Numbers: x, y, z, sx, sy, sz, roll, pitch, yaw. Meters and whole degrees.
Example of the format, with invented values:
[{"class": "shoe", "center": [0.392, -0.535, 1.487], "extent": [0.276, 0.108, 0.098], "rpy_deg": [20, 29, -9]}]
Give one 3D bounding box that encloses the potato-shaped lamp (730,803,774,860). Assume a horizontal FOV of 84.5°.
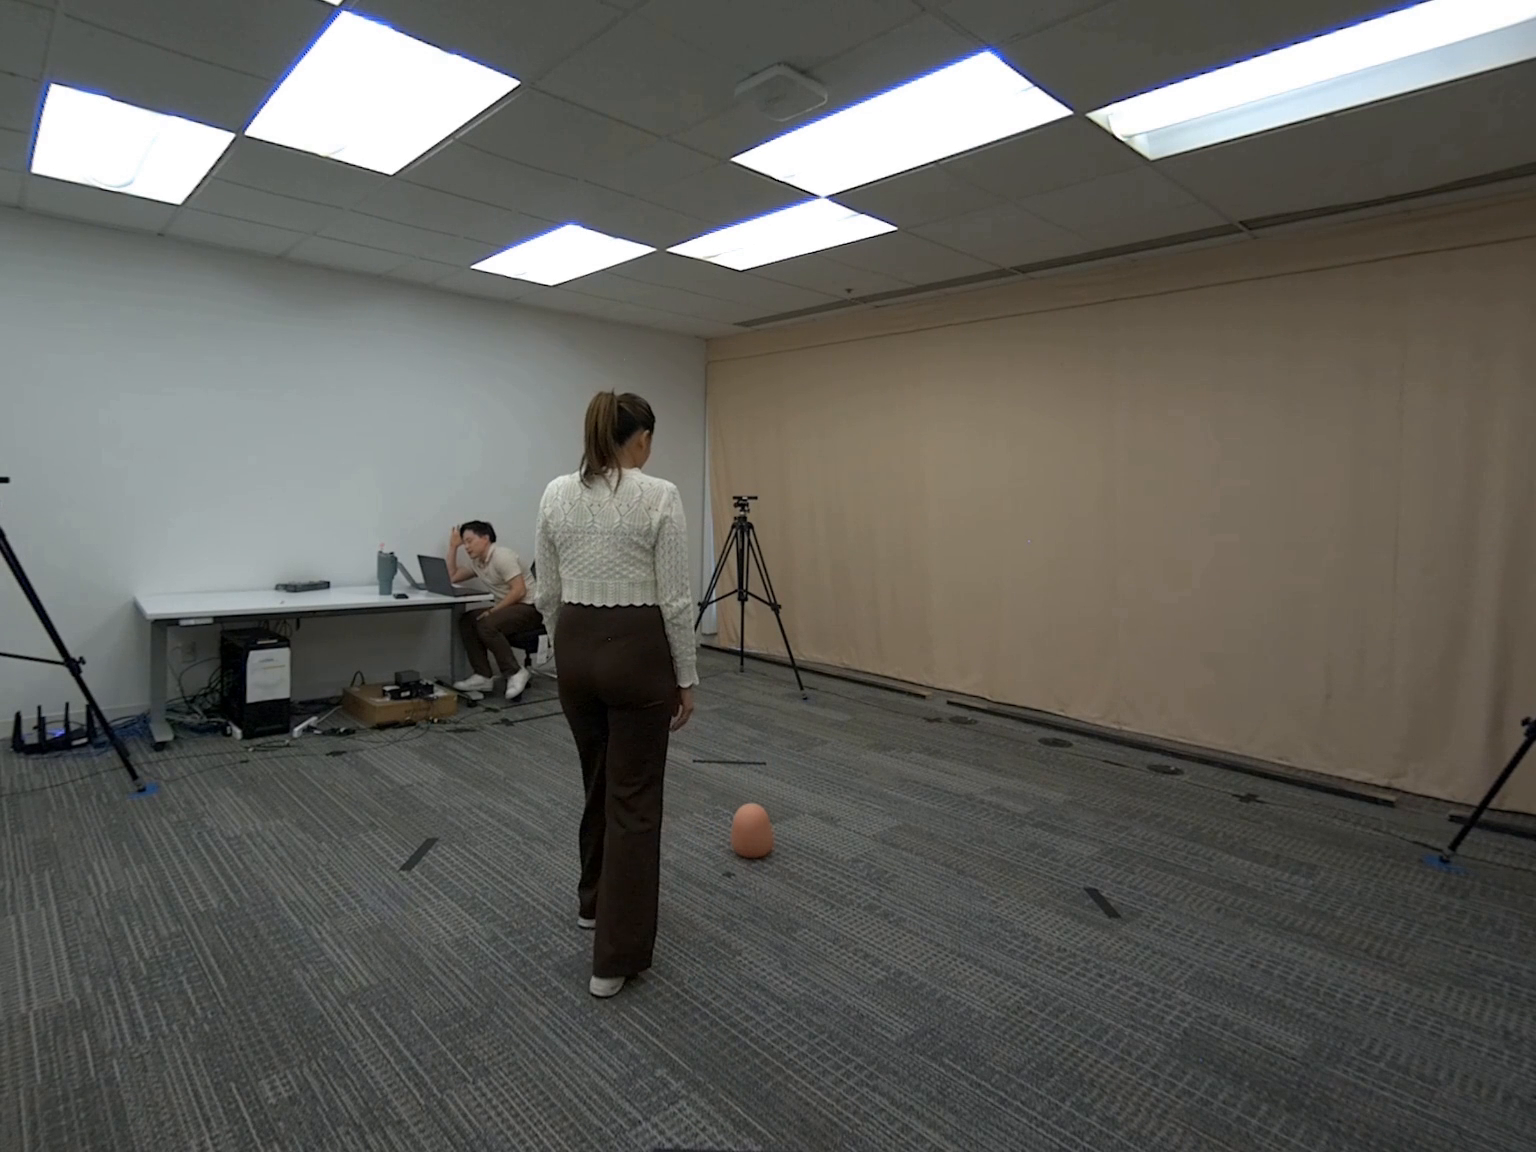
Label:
[{"class": "potato-shaped lamp", "center": [-0.072, 0.989, 3.290], "extent": [0.168, 0.197, 0.168], "rpy_deg": [6, 8, 30]}]
